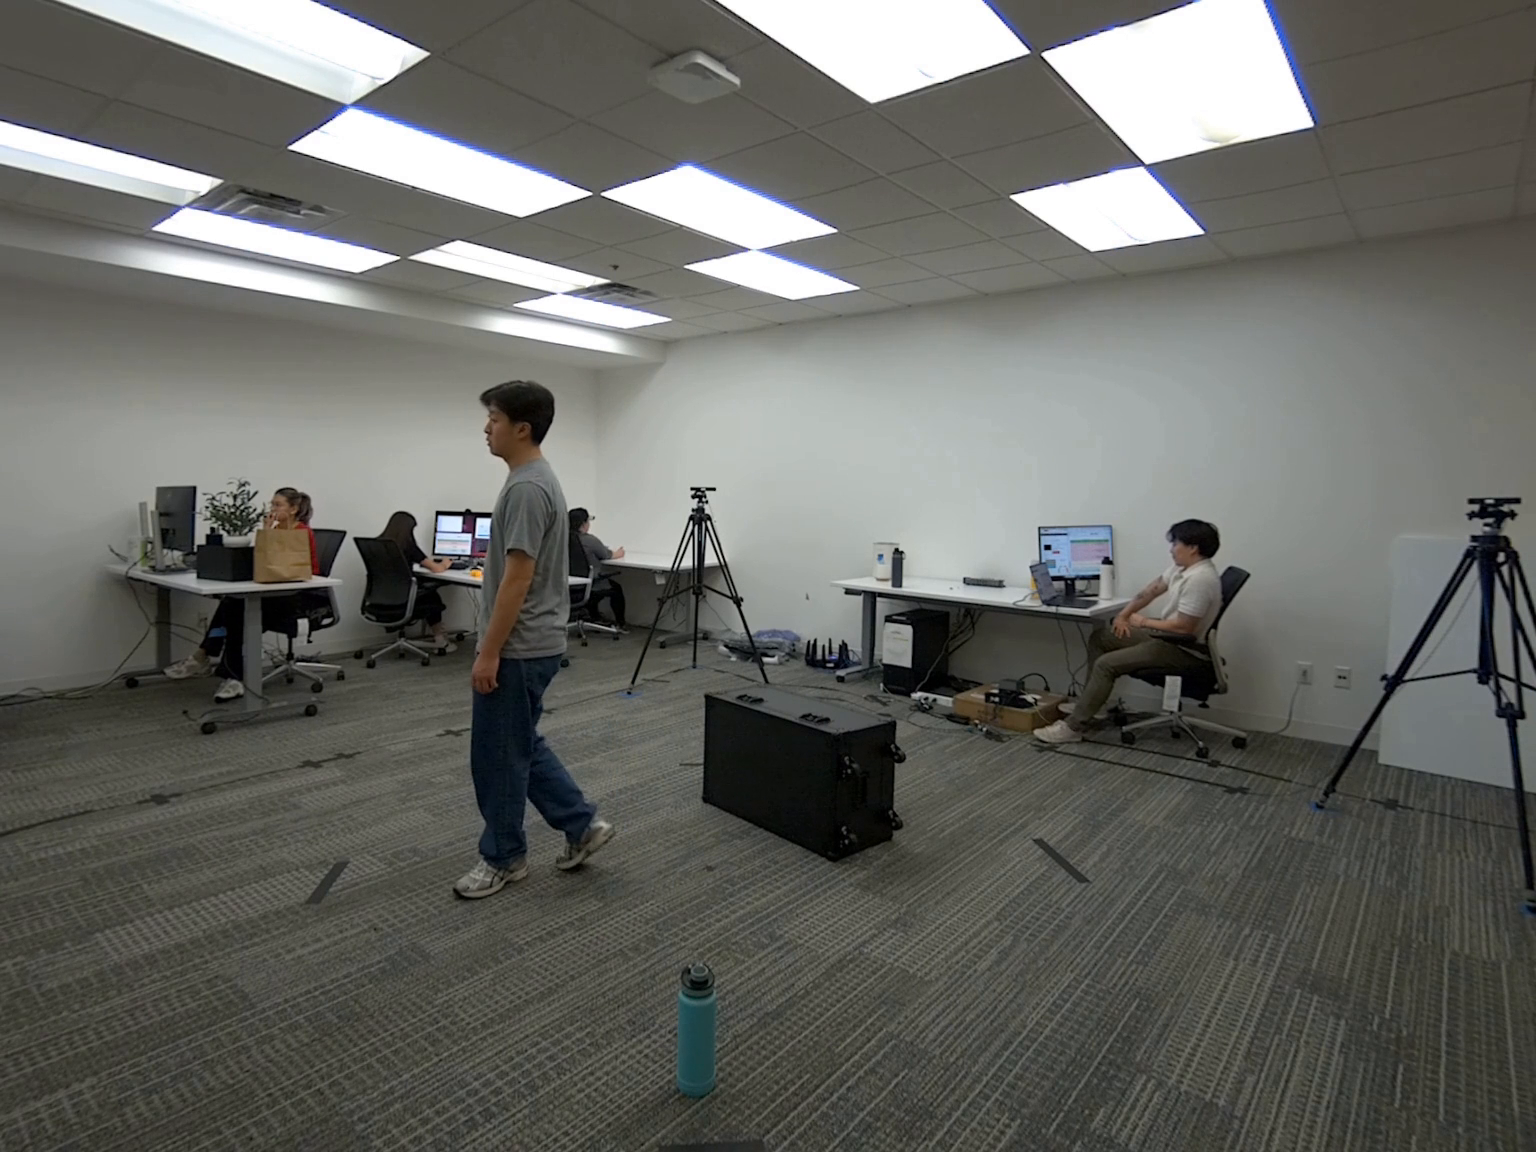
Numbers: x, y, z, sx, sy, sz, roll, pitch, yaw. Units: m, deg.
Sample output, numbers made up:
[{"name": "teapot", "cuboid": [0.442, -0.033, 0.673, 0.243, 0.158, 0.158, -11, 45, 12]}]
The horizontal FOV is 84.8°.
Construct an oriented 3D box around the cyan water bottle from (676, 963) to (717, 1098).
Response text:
[{"name": "cyan water bottle", "cuboid": [-0.174, 1.043, 1.974, 0.092, 0.283, 0.092, 0, 2, -2]}]
